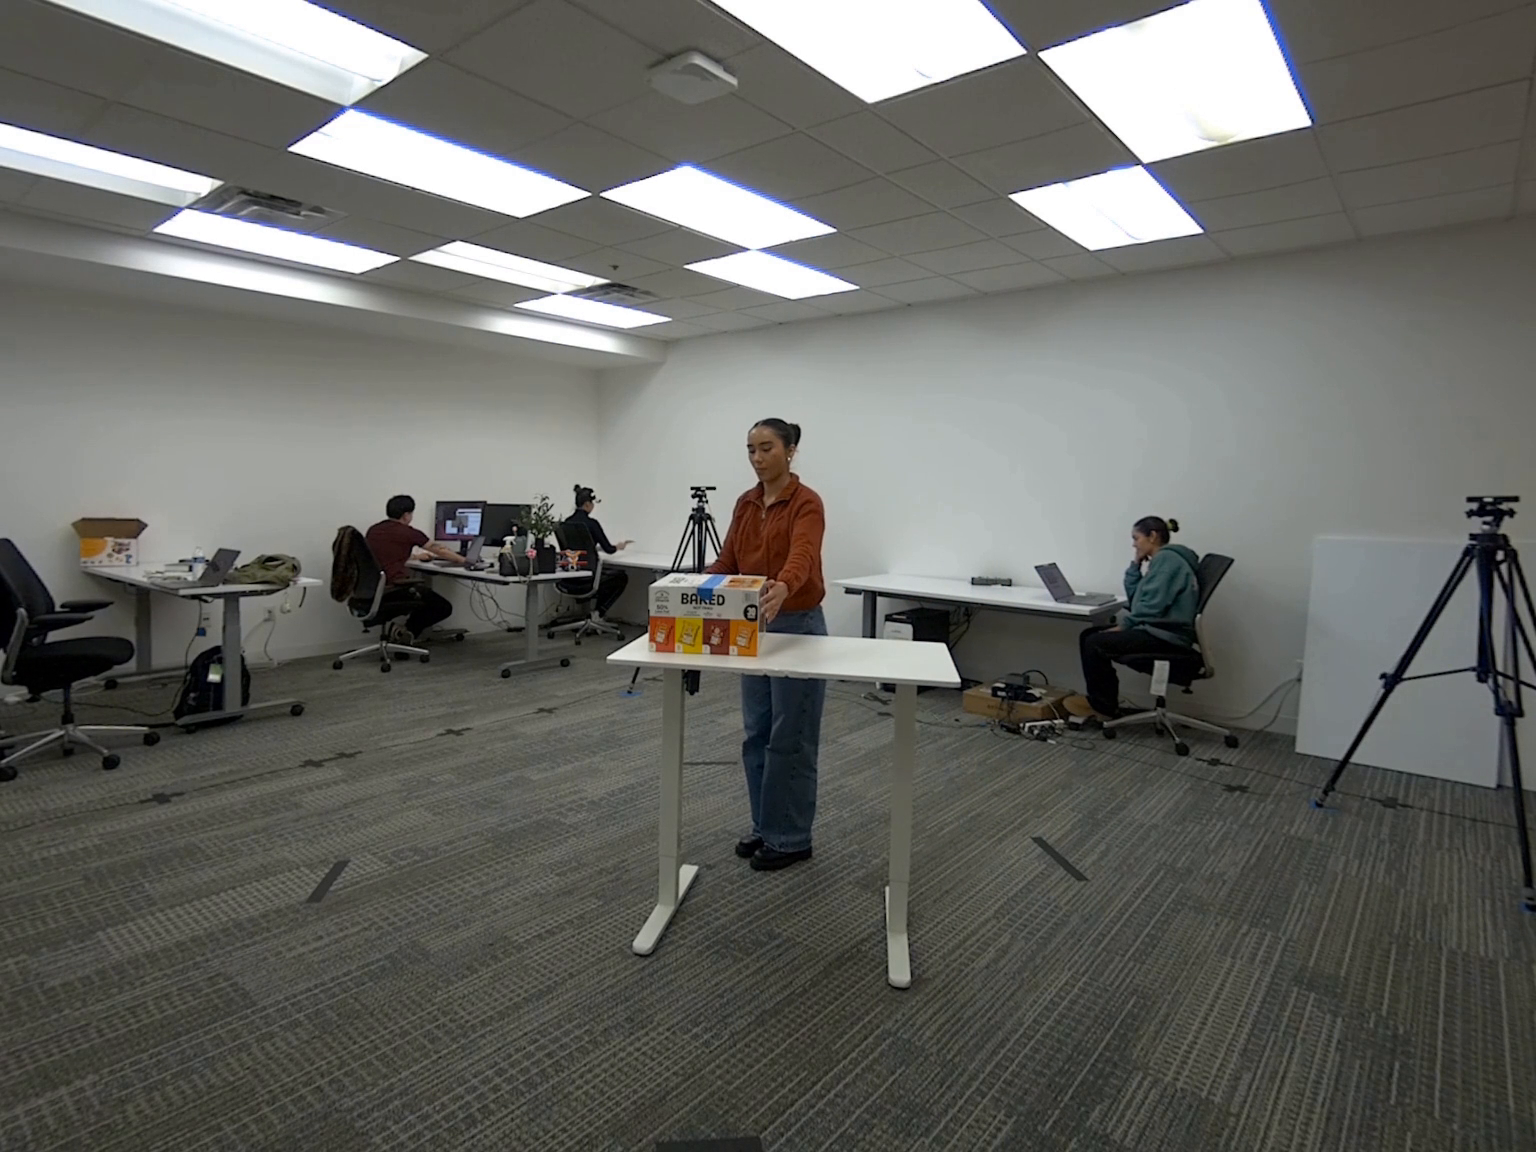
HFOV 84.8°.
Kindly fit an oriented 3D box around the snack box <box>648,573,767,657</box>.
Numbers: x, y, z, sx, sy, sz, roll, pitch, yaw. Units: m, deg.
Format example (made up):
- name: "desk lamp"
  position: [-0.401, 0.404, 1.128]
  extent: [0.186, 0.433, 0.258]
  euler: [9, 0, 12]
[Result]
- name: "snack box"
  position: [-0.196, 0.111, 2.780]
  extent: [0.343, 0.205, 0.403]
  euler: [4, 5, 5]
